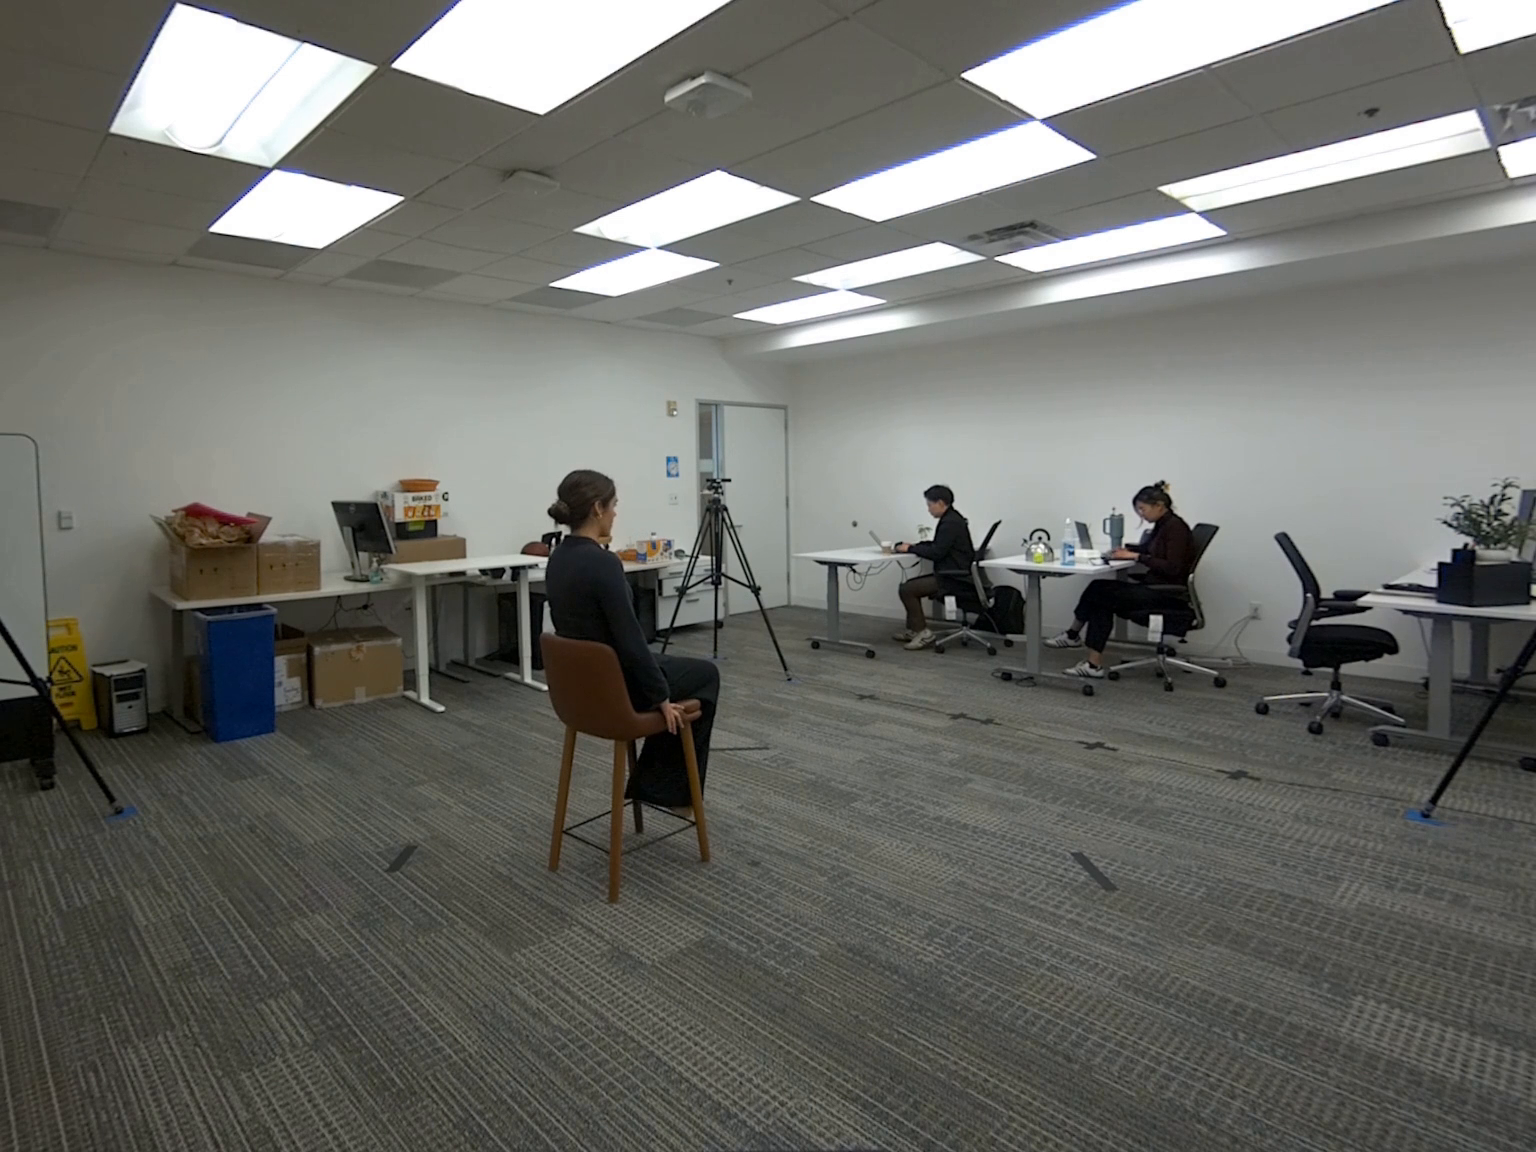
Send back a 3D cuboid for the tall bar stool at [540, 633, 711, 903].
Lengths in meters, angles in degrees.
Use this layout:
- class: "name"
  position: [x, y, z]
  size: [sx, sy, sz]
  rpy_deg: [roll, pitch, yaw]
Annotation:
- class: "tall bar stool"
  position: [-0.526, 0.621, 3.084]
  size: [0.470, 0.886, 0.456]
  rpy_deg: [2, 7, 43]
